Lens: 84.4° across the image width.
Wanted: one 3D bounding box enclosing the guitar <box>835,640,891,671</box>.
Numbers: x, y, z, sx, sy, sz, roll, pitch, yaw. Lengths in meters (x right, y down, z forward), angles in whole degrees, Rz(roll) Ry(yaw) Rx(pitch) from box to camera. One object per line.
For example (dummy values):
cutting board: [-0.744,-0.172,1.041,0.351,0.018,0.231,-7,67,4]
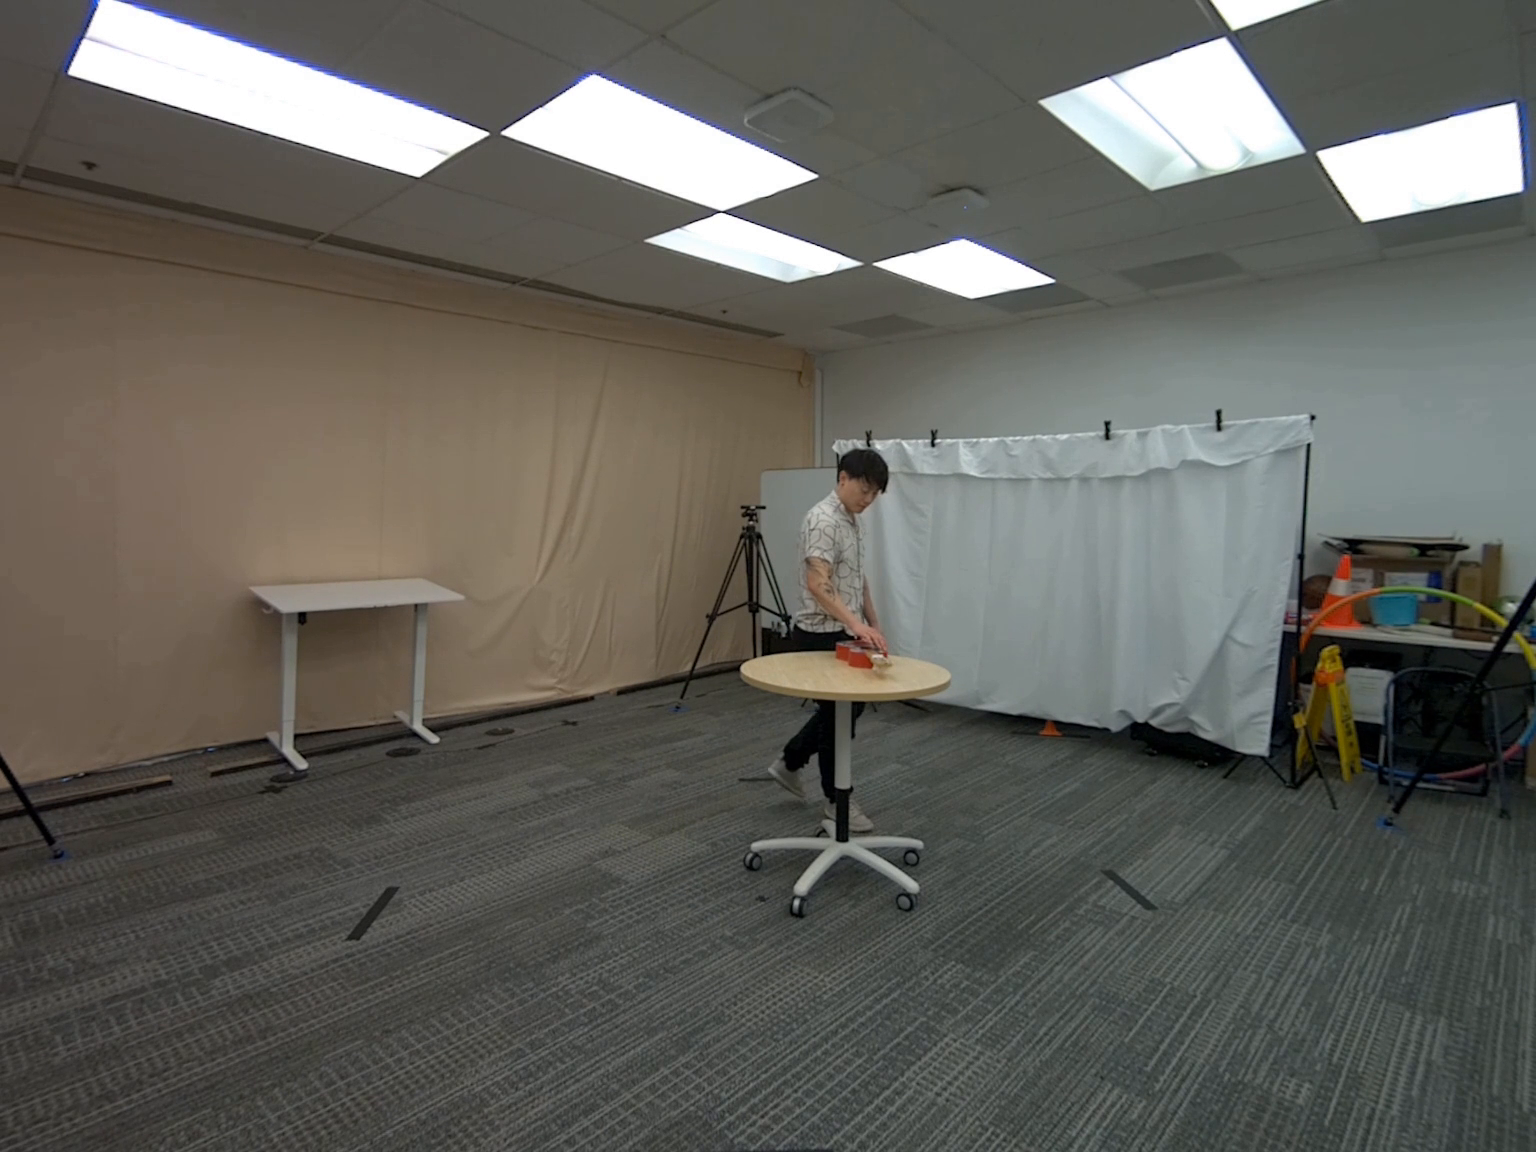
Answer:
guitar: [0.362,0.309,3.166,0.194,0.070,0.496,4,4,3]
